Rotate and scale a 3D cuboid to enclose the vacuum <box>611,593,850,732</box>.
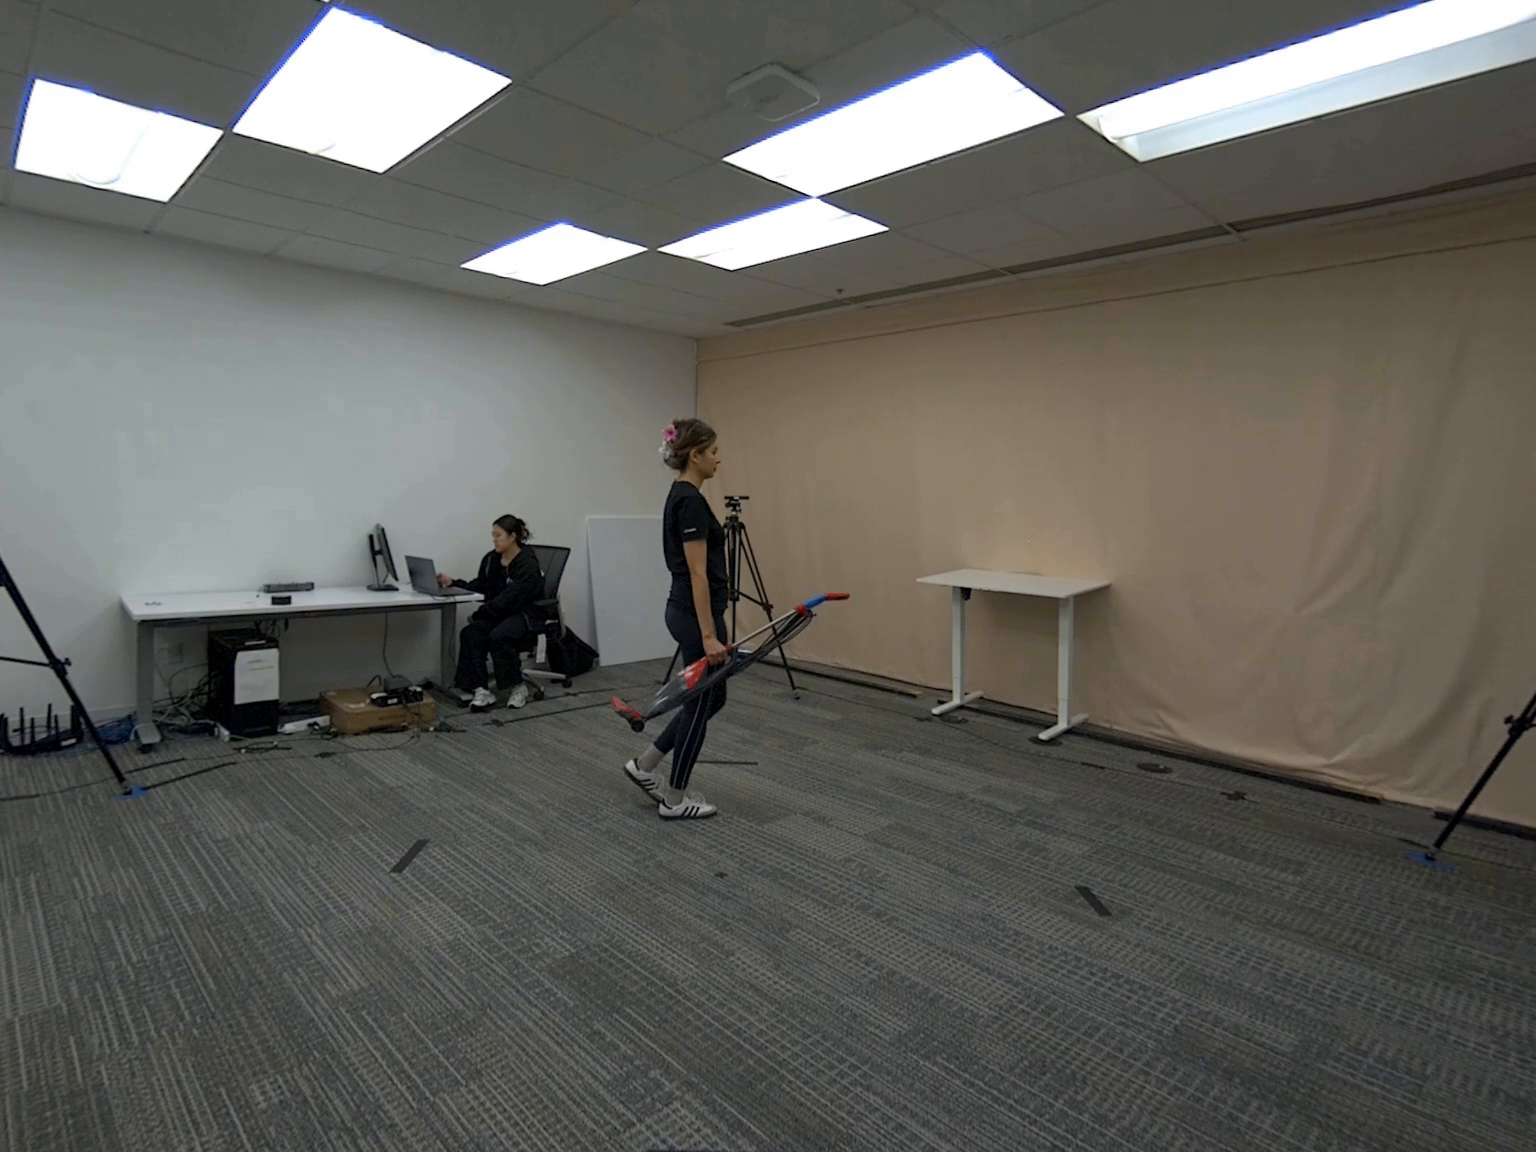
[{"bbox_3d":[-0.132,0.324,3.425,1.045,0.143,0.255,-29,9,-11],"label":"vacuum"}]
